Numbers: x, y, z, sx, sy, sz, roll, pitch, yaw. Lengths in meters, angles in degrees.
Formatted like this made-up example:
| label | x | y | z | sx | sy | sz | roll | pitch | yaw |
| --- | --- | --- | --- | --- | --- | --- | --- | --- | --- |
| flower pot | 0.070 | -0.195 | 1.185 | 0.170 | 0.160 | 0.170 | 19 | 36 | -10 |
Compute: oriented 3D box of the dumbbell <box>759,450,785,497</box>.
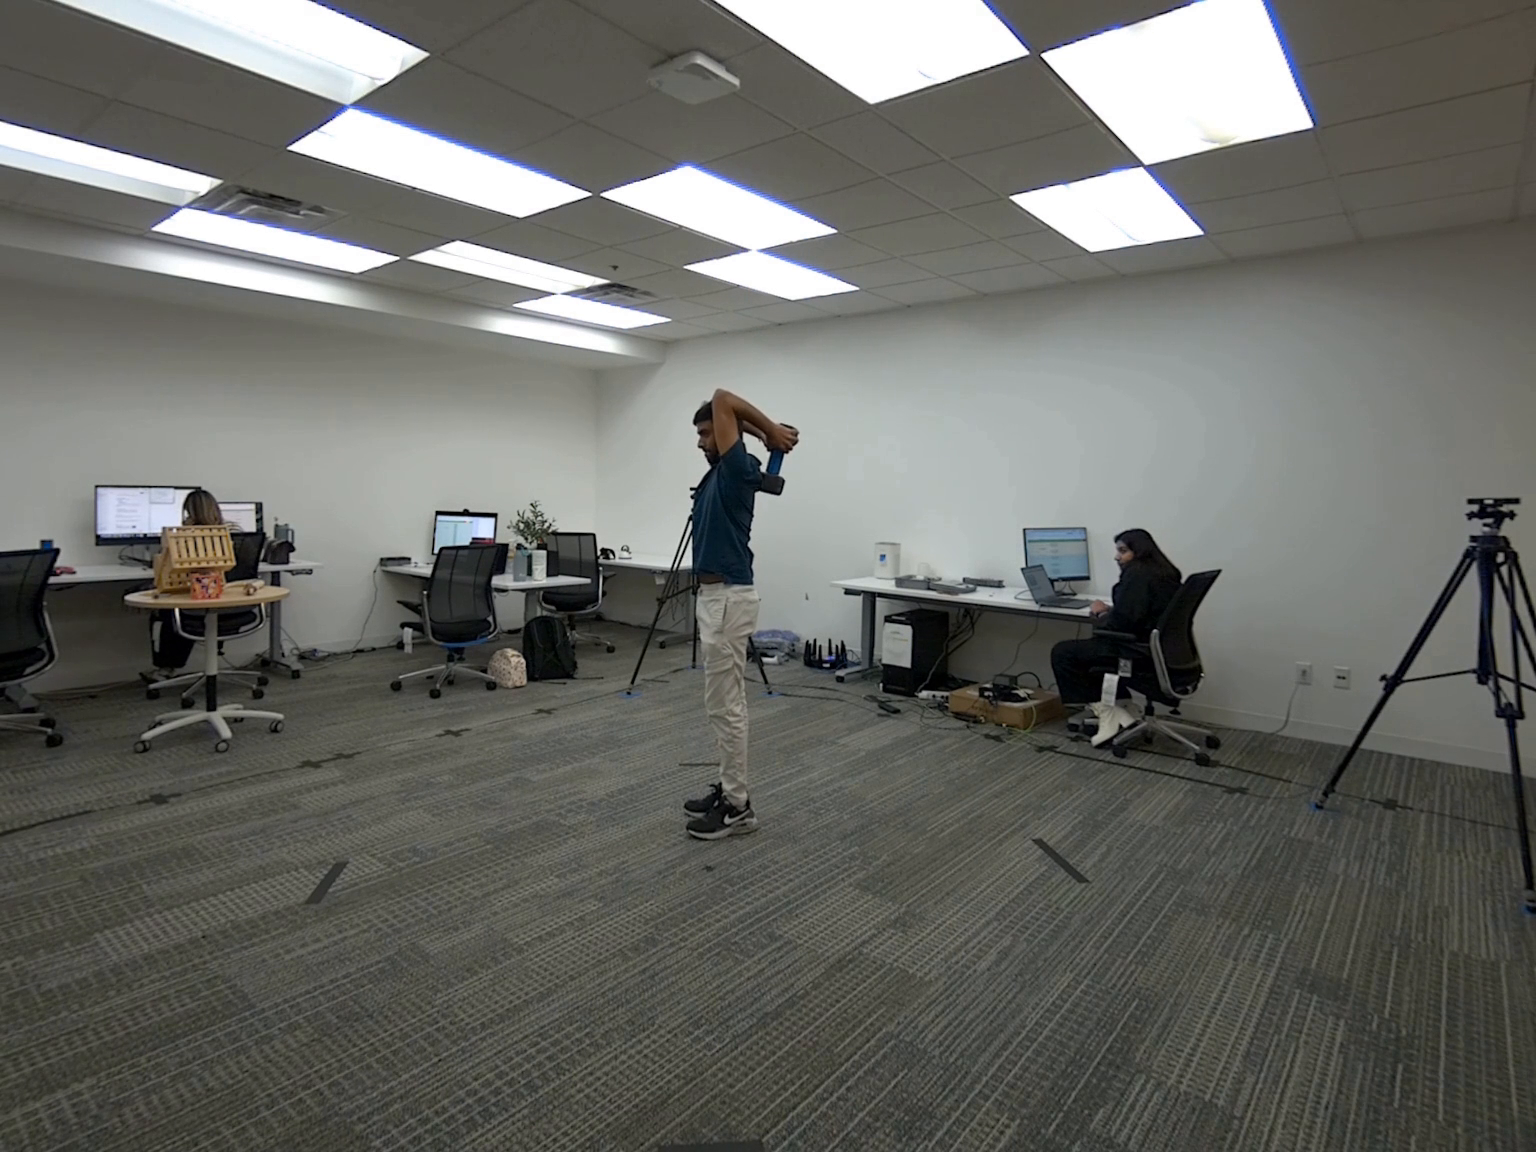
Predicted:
| label | x | y | z | sx | sy | sz | roll | pitch | yaw |
| --- | --- | --- | --- | --- | --- | --- | --- | --- | --- |
| dumbbell | 0.015 | -0.500 | 3.556 | 0.122 | 0.294 | 0.109 | 10 | -3 | -4 |
